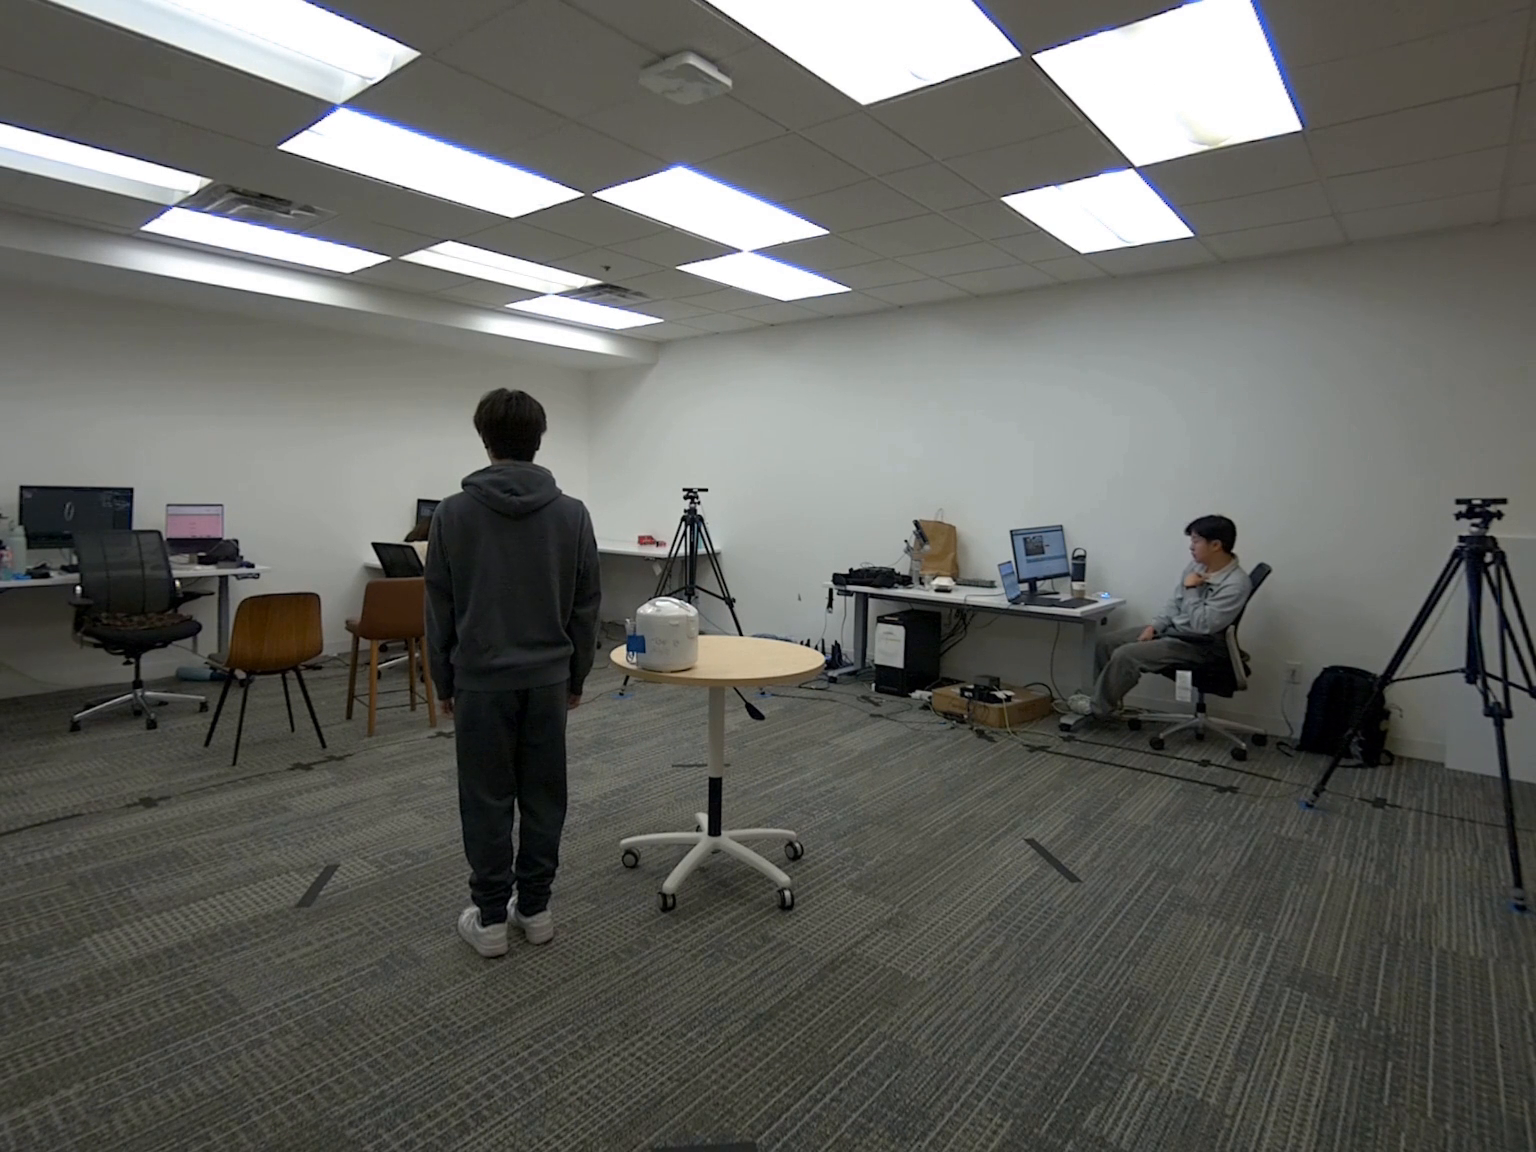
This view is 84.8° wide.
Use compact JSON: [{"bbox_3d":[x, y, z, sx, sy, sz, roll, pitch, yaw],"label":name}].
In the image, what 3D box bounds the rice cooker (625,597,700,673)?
[{"bbox_3d":[-0.344,0.184,2.825,0.227,0.231,0.212,4,7,33],"label":"rice cooker"}]
